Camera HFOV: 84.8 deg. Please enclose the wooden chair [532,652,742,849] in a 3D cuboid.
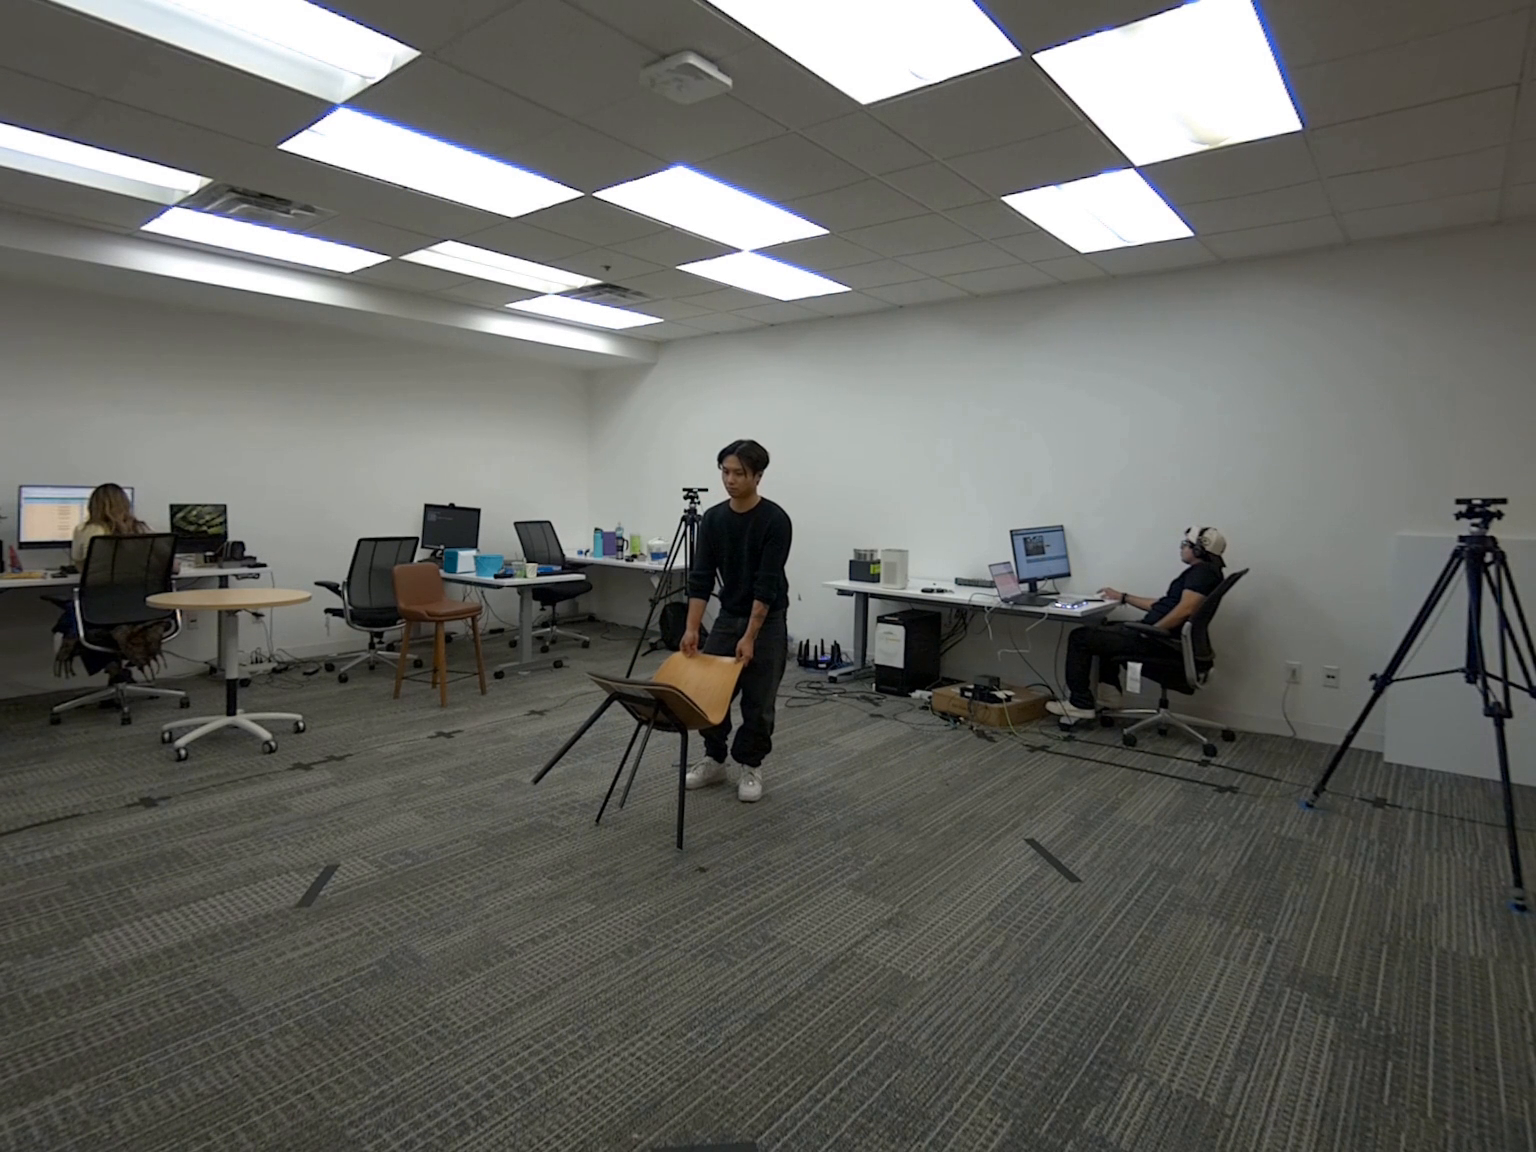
[{"bbox_3d":[-0.490,0.553,3.412,0.493,0.886,0.502,3,-36,33],"label":"wooden chair"}]
